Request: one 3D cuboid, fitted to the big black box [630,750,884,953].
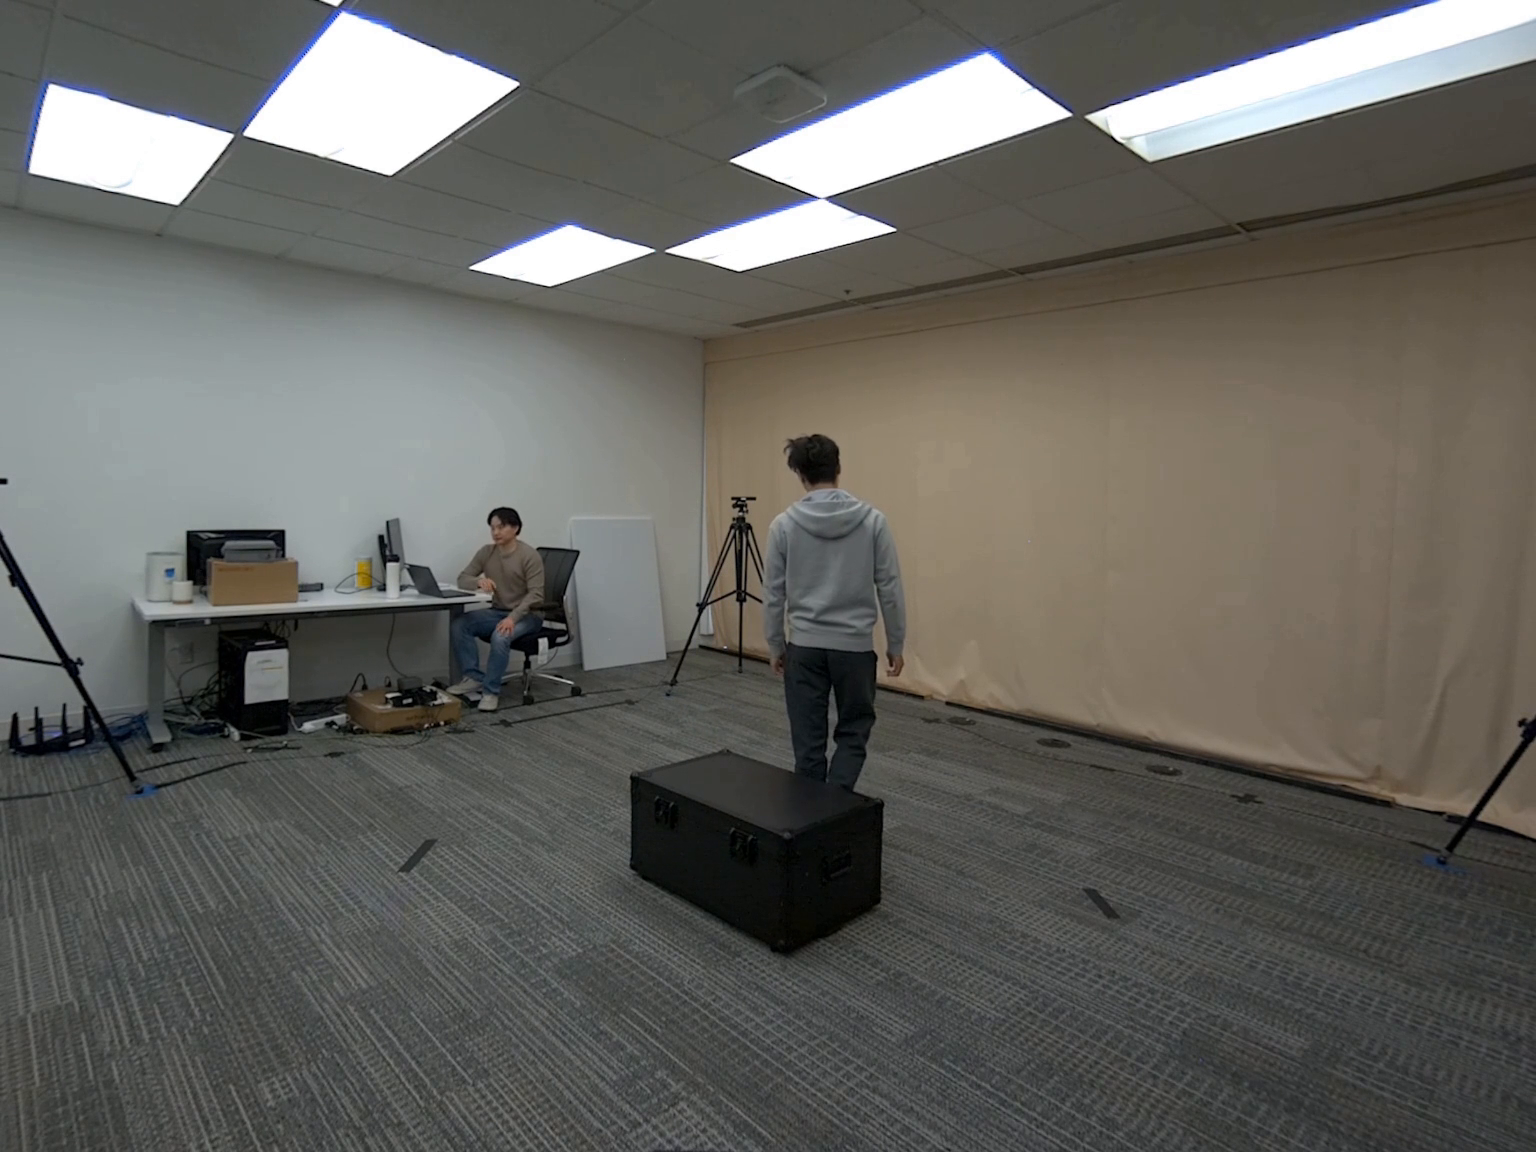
[{"bbox_3d":[-0.087,0.928,2.996,0.884,0.395,0.509,7,7,44],"label":"big black box"}]
